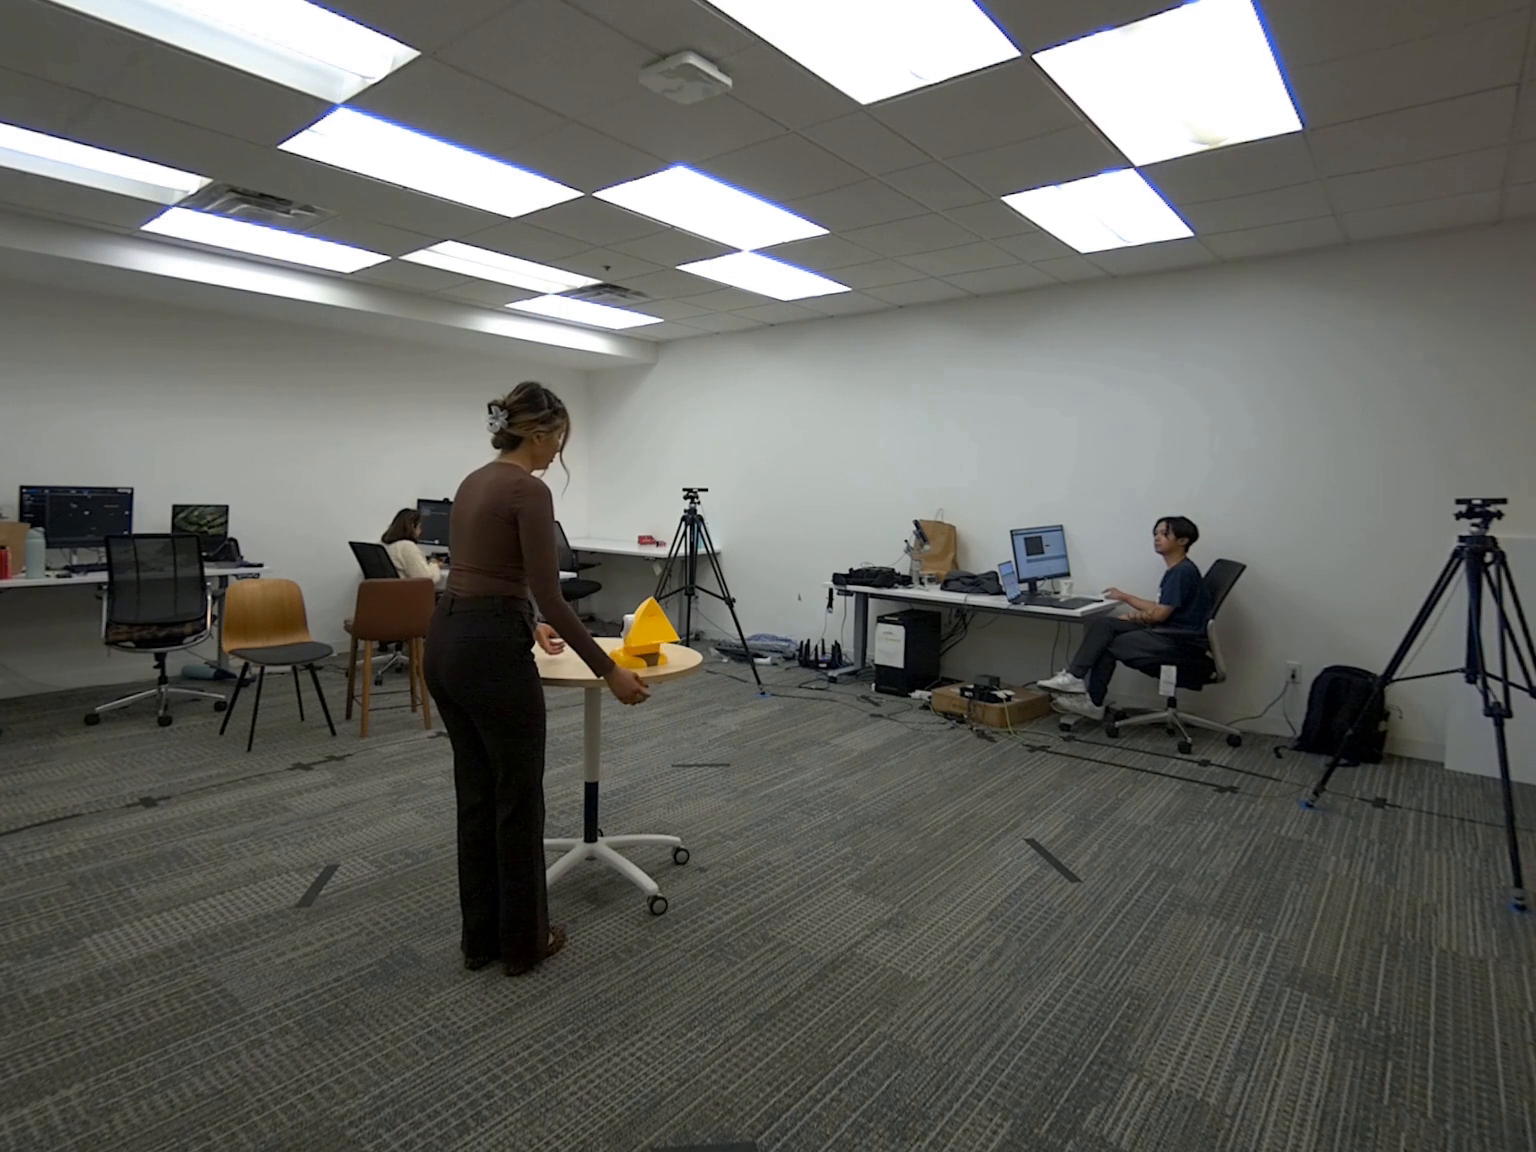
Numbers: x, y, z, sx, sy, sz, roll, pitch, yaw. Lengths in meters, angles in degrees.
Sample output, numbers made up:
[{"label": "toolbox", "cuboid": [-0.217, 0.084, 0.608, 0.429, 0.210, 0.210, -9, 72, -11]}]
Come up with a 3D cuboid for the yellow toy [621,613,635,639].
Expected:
[{"label": "yellow toy", "cuboid": [-0.440, 0.176, 2.859, 0.199, 0.230, 0.198, 3, 4, 44]}]
